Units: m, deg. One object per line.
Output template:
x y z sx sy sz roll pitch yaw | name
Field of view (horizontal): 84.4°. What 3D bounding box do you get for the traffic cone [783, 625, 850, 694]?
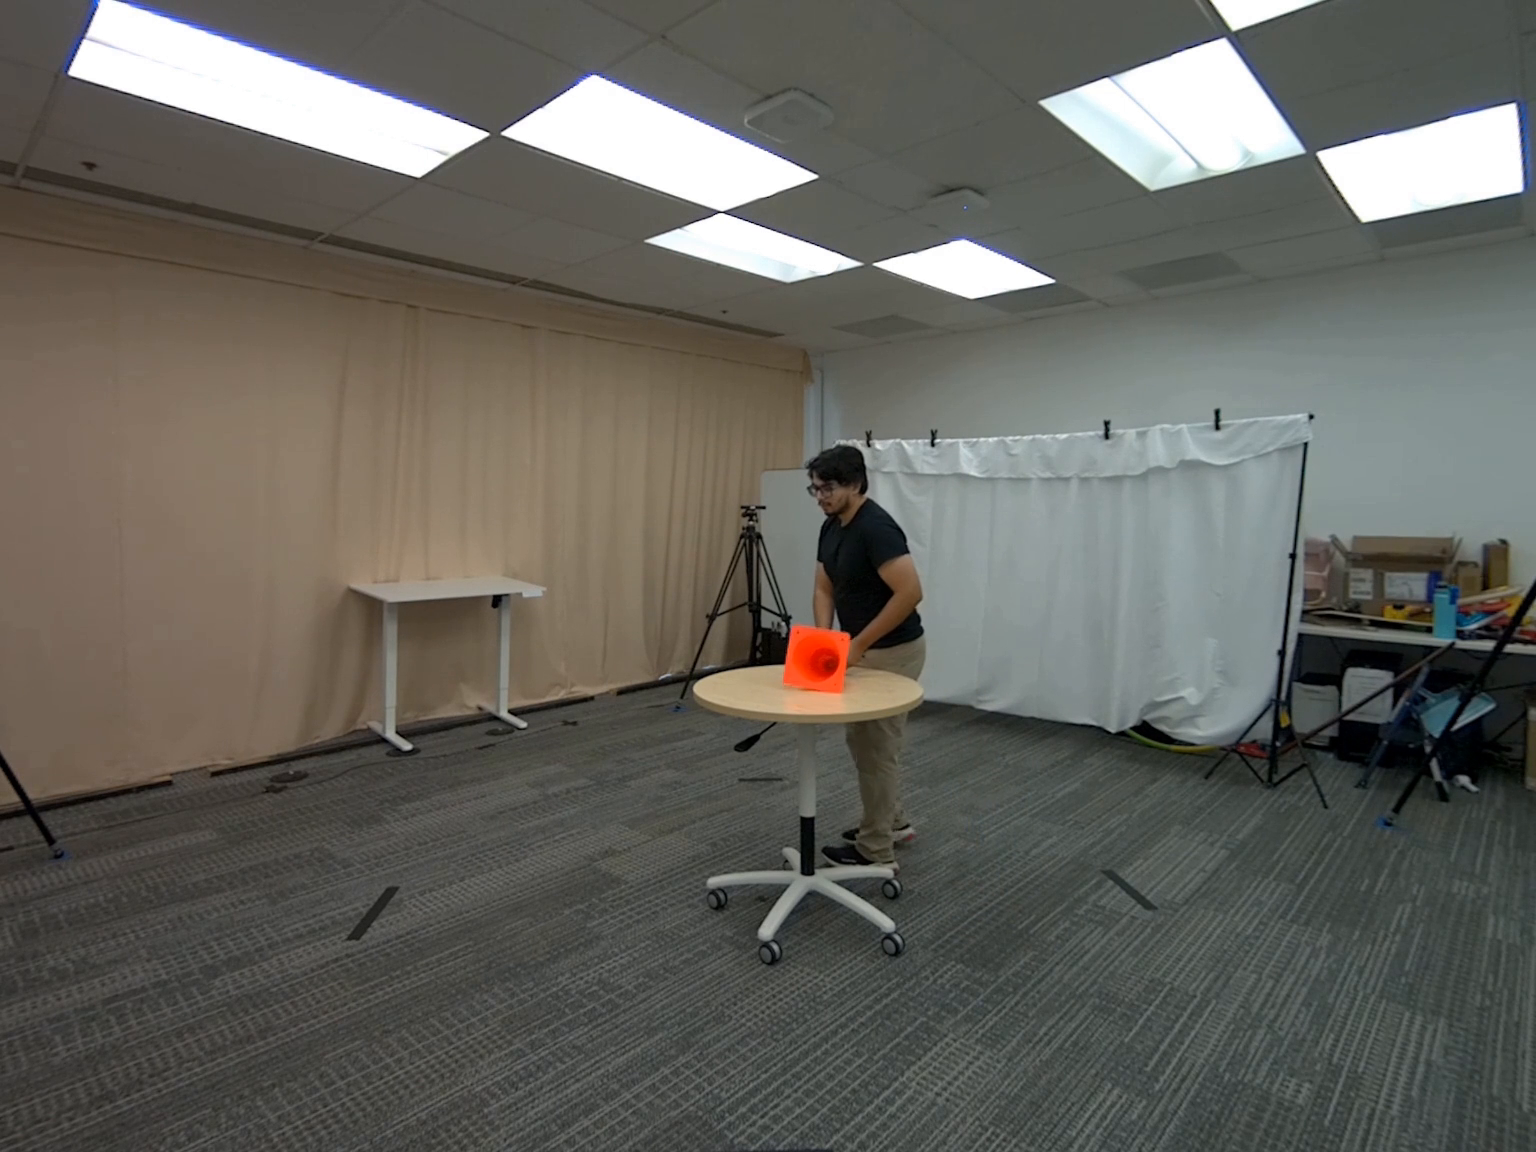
0.203 0.300 2.945 0.208 0.204 0.376 7 -8 13 | traffic cone
